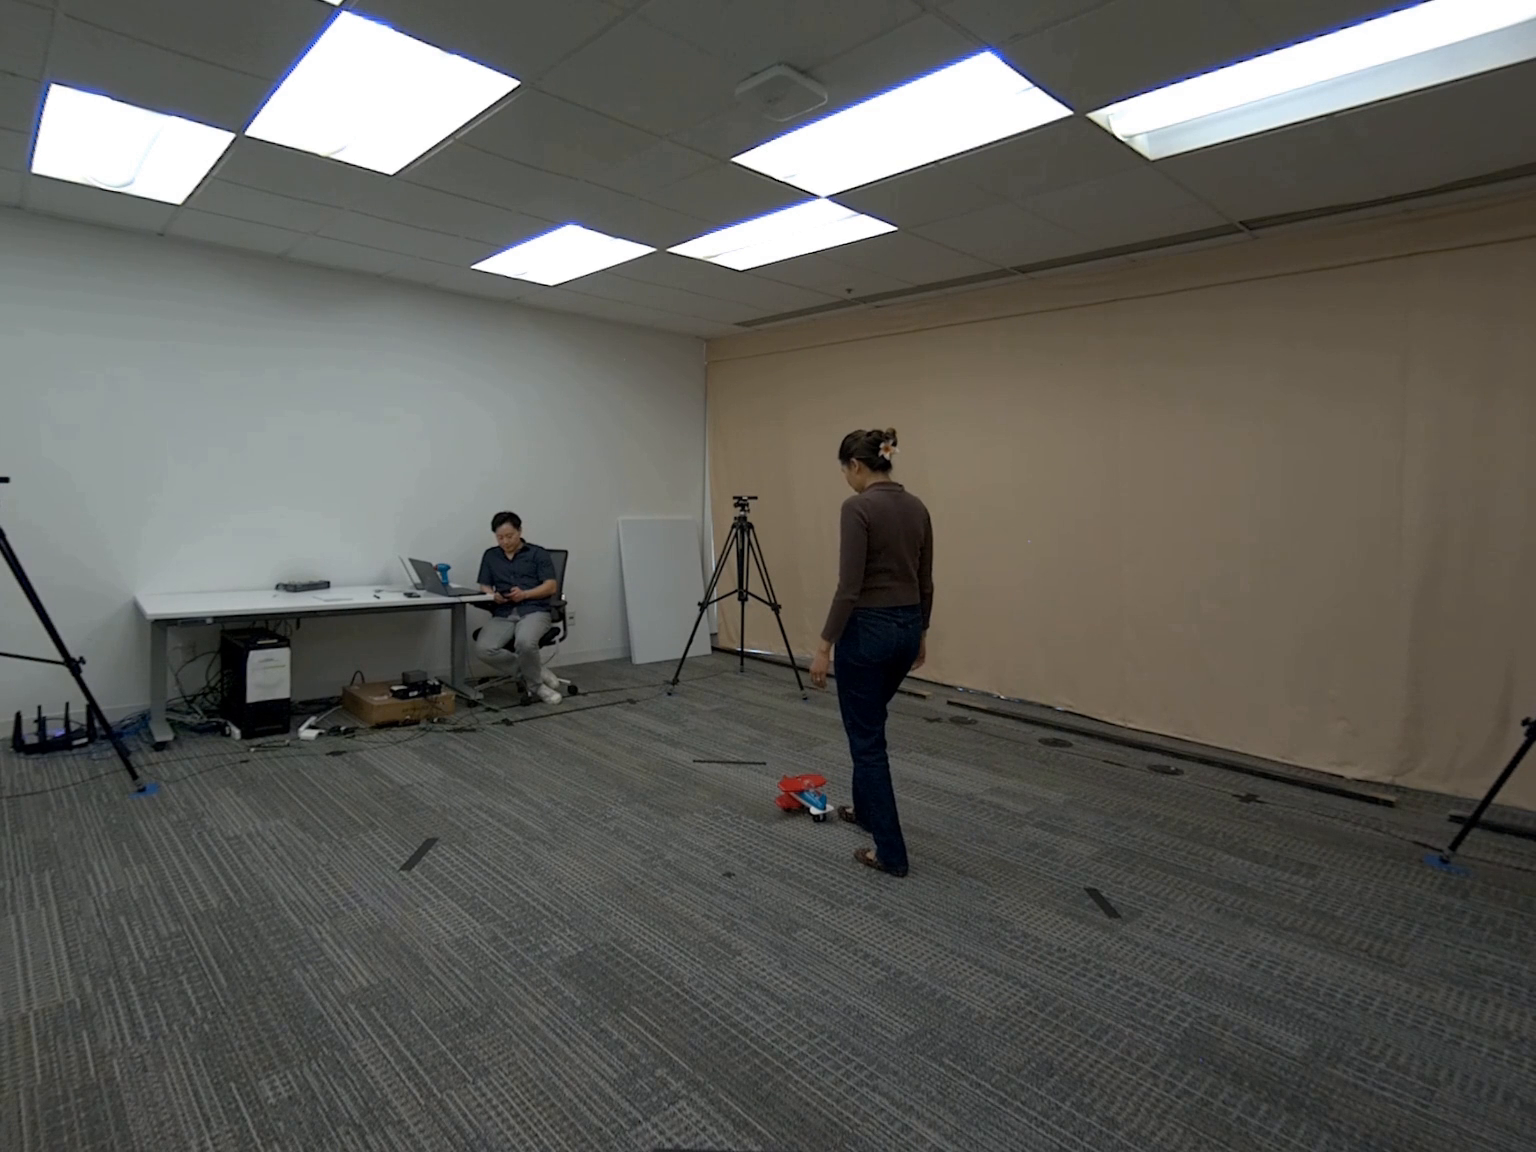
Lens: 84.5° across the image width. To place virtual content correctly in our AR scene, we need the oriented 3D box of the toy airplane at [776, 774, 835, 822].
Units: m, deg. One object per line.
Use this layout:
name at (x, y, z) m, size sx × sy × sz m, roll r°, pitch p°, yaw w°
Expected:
toy airplane at (0.172, 0.978, 3.732) m, size 0.264 × 0.156 × 0.247 m, roll 2°, pitch 4°, yaw 25°
